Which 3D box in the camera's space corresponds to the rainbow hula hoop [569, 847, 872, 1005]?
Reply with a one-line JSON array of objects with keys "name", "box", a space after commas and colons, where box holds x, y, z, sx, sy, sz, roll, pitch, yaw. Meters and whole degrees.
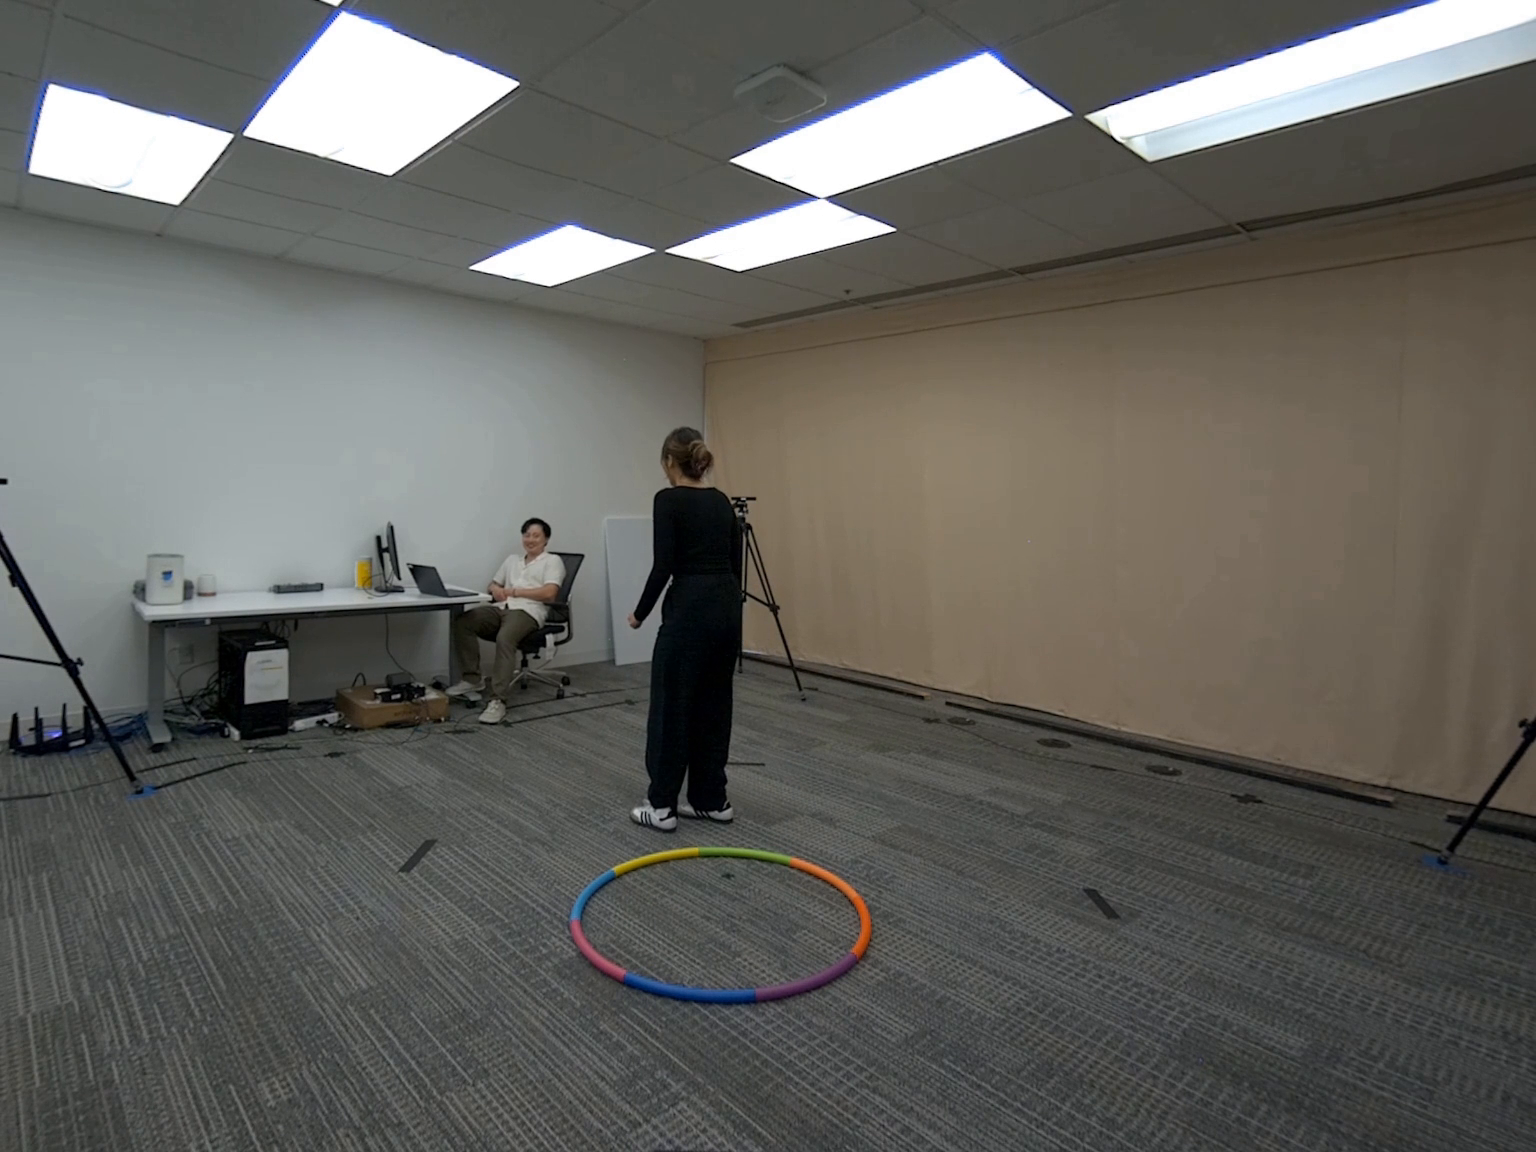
[{"name": "rainbow hula hoop", "box": [-0.165, 1.104, 2.800, 0.978, 0.035, 0.982, 1, 5, -1]}]
